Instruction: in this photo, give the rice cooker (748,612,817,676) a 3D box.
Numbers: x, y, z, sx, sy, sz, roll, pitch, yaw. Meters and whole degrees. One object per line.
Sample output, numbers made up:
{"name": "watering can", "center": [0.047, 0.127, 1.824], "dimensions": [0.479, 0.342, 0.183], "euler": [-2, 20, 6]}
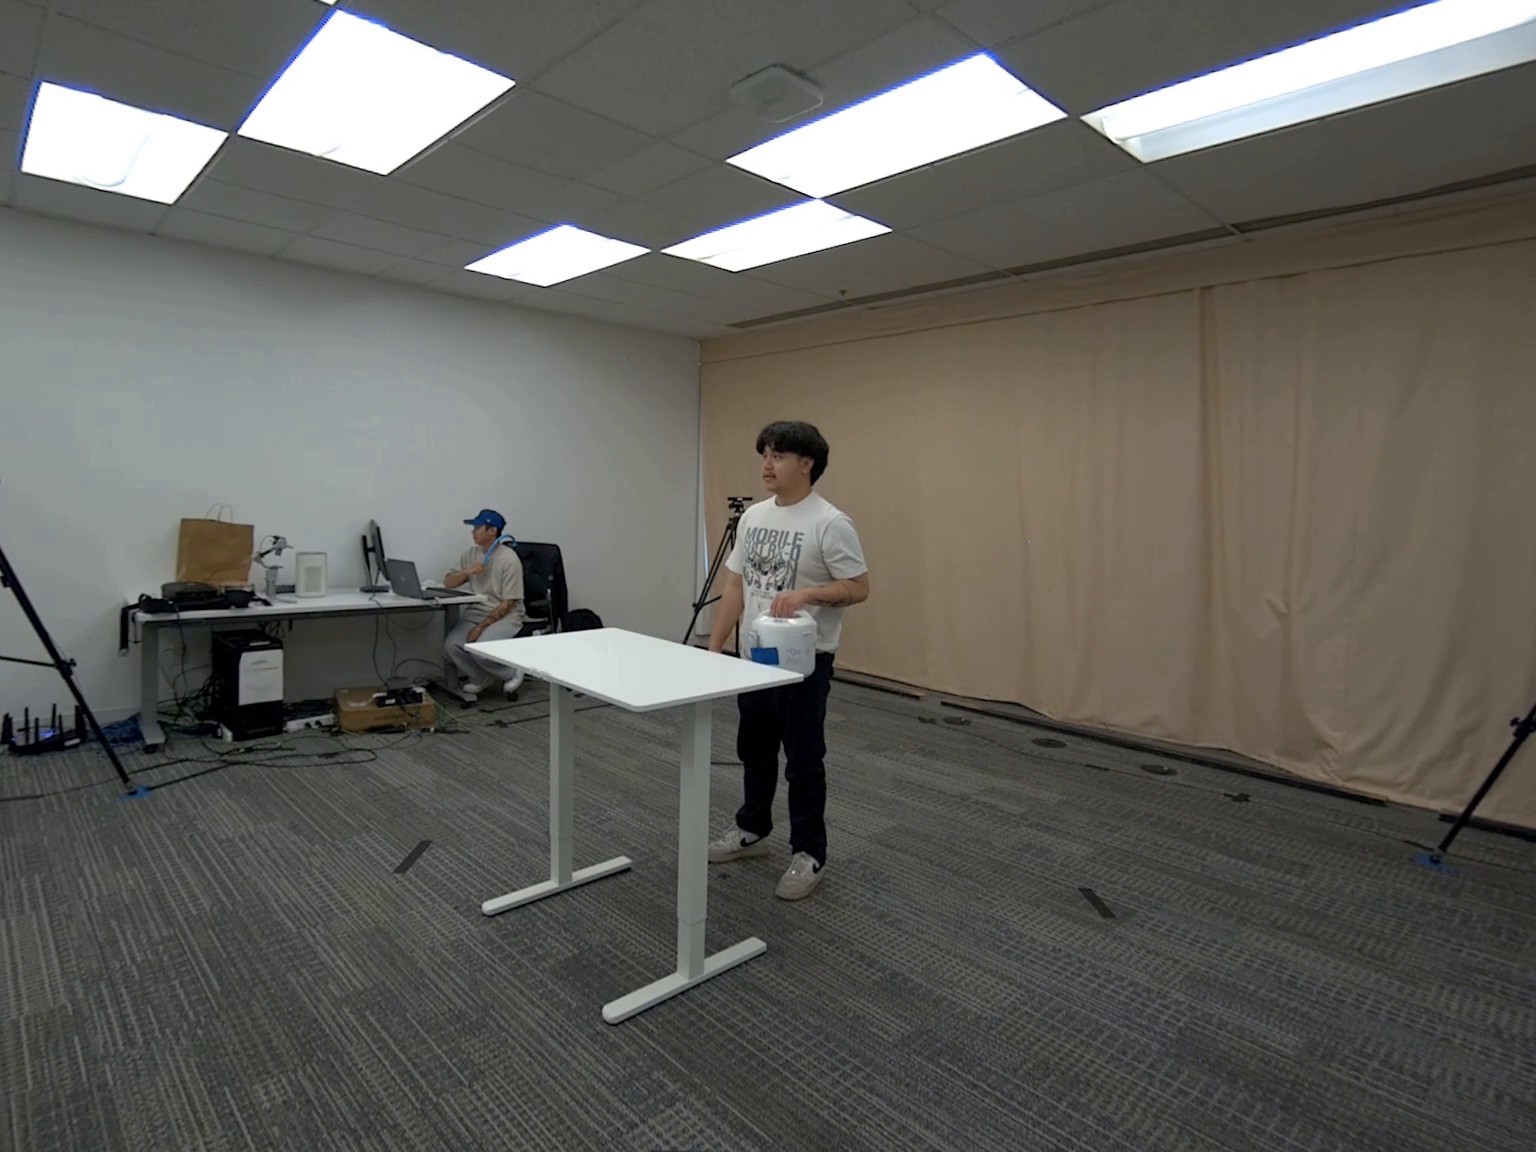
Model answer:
{"name": "rice cooker", "center": [0.042, 0.222, 2.828], "dimensions": [0.223, 0.231, 0.216], "euler": [3, 7, 11]}
